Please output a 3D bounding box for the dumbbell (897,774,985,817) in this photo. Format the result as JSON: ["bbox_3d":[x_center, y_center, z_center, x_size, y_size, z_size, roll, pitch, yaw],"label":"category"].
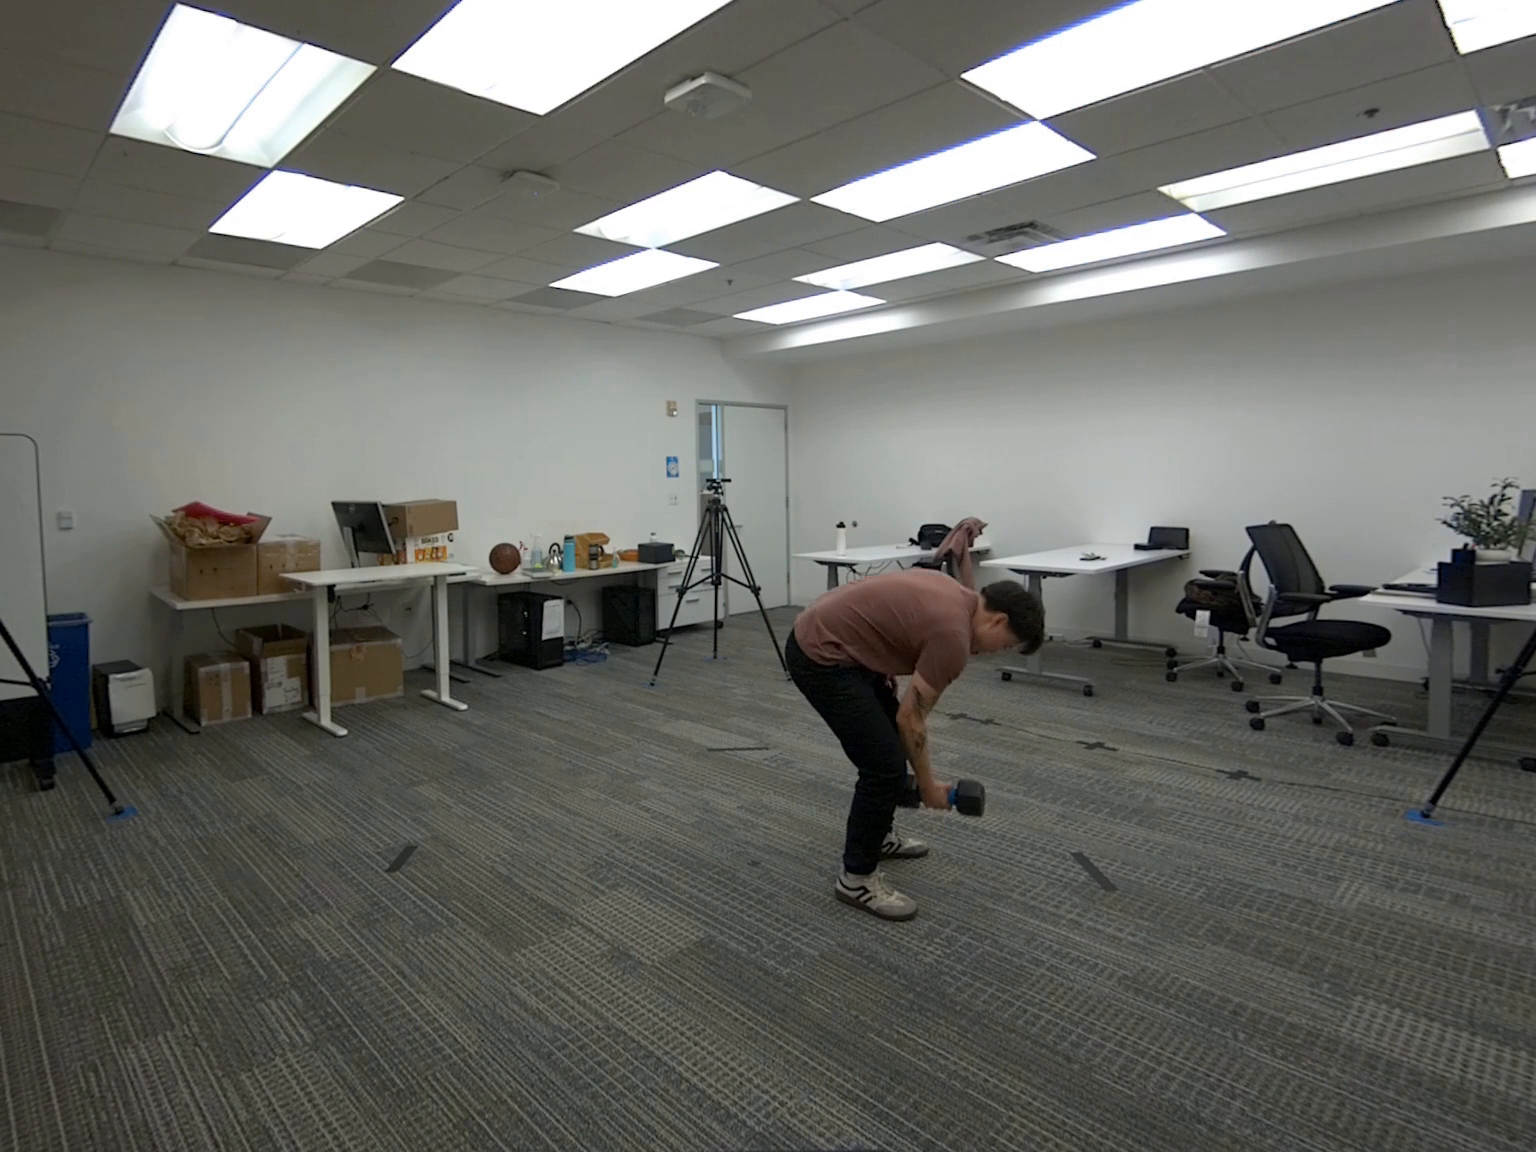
[{"bbox_3d":[0.578,0.731,2.878,0.300,0.110,0.118,-1,-24,23],"label":"dumbbell"}]
